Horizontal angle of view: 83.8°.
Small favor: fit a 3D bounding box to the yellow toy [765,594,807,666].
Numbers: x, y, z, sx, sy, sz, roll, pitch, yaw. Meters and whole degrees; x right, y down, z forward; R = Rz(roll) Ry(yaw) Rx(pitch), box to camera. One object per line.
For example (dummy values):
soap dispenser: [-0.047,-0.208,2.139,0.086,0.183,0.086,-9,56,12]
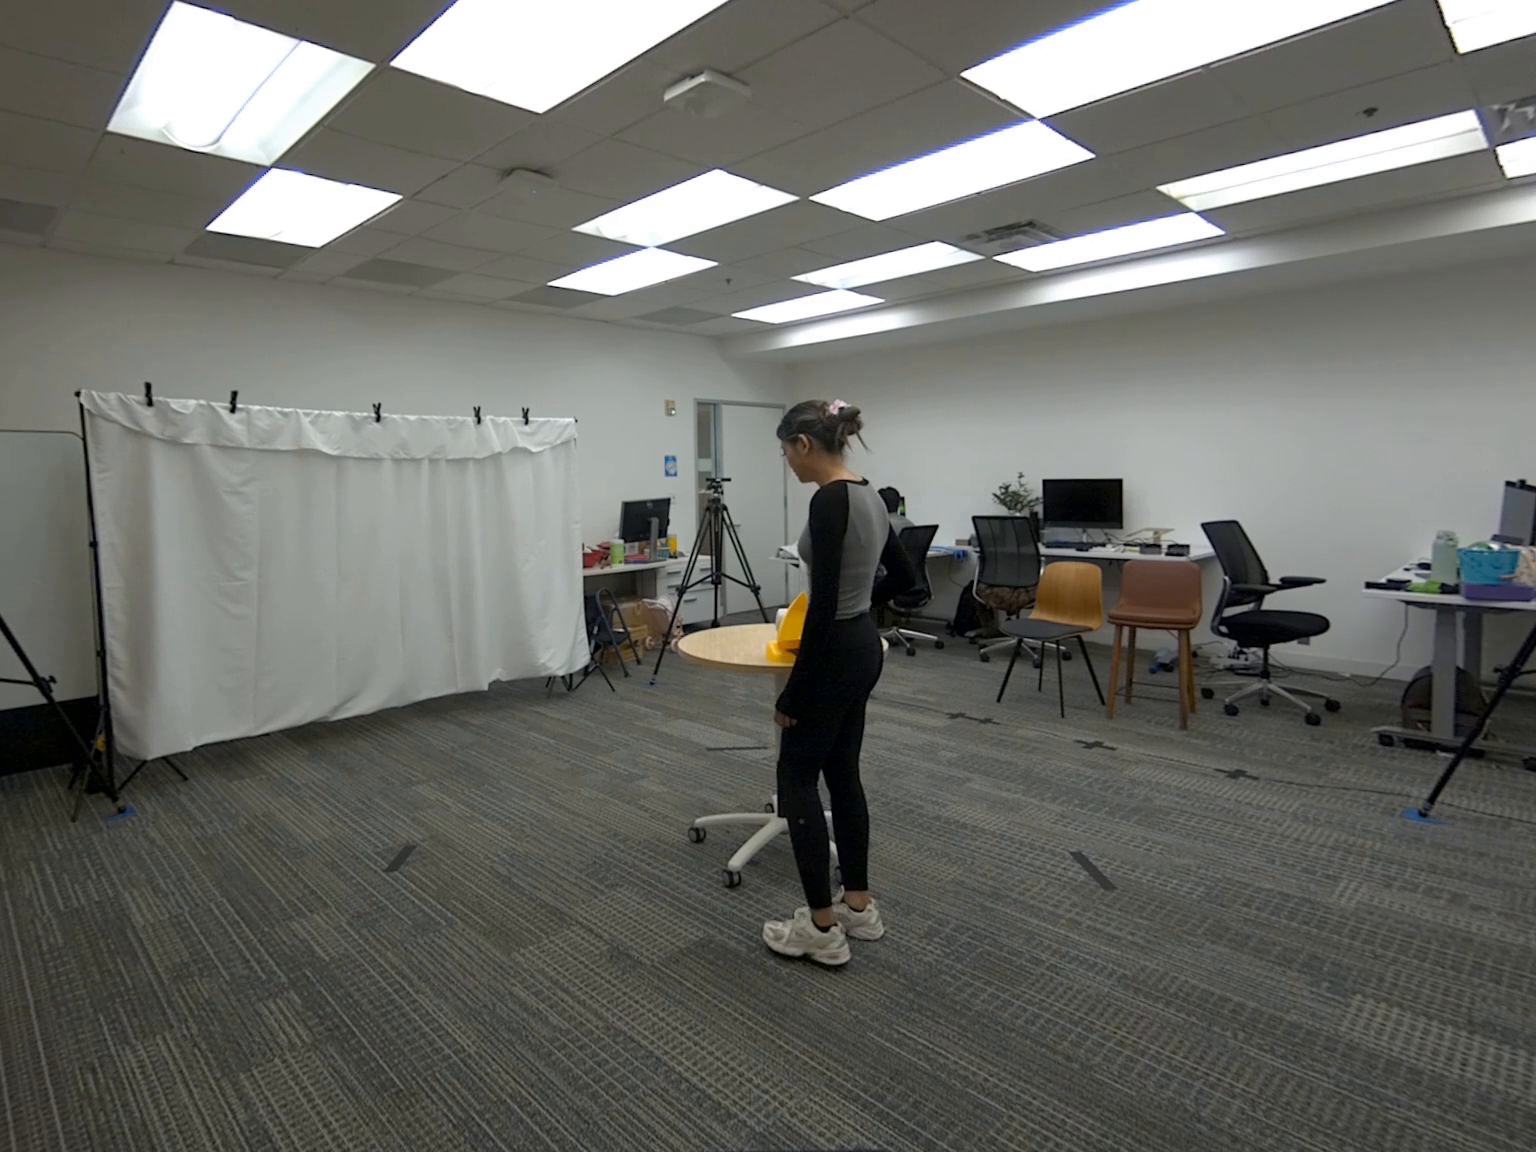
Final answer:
yellow toy: [0.099,0.160,2.870,0.201,0.230,0.197,-2,6,-19]
